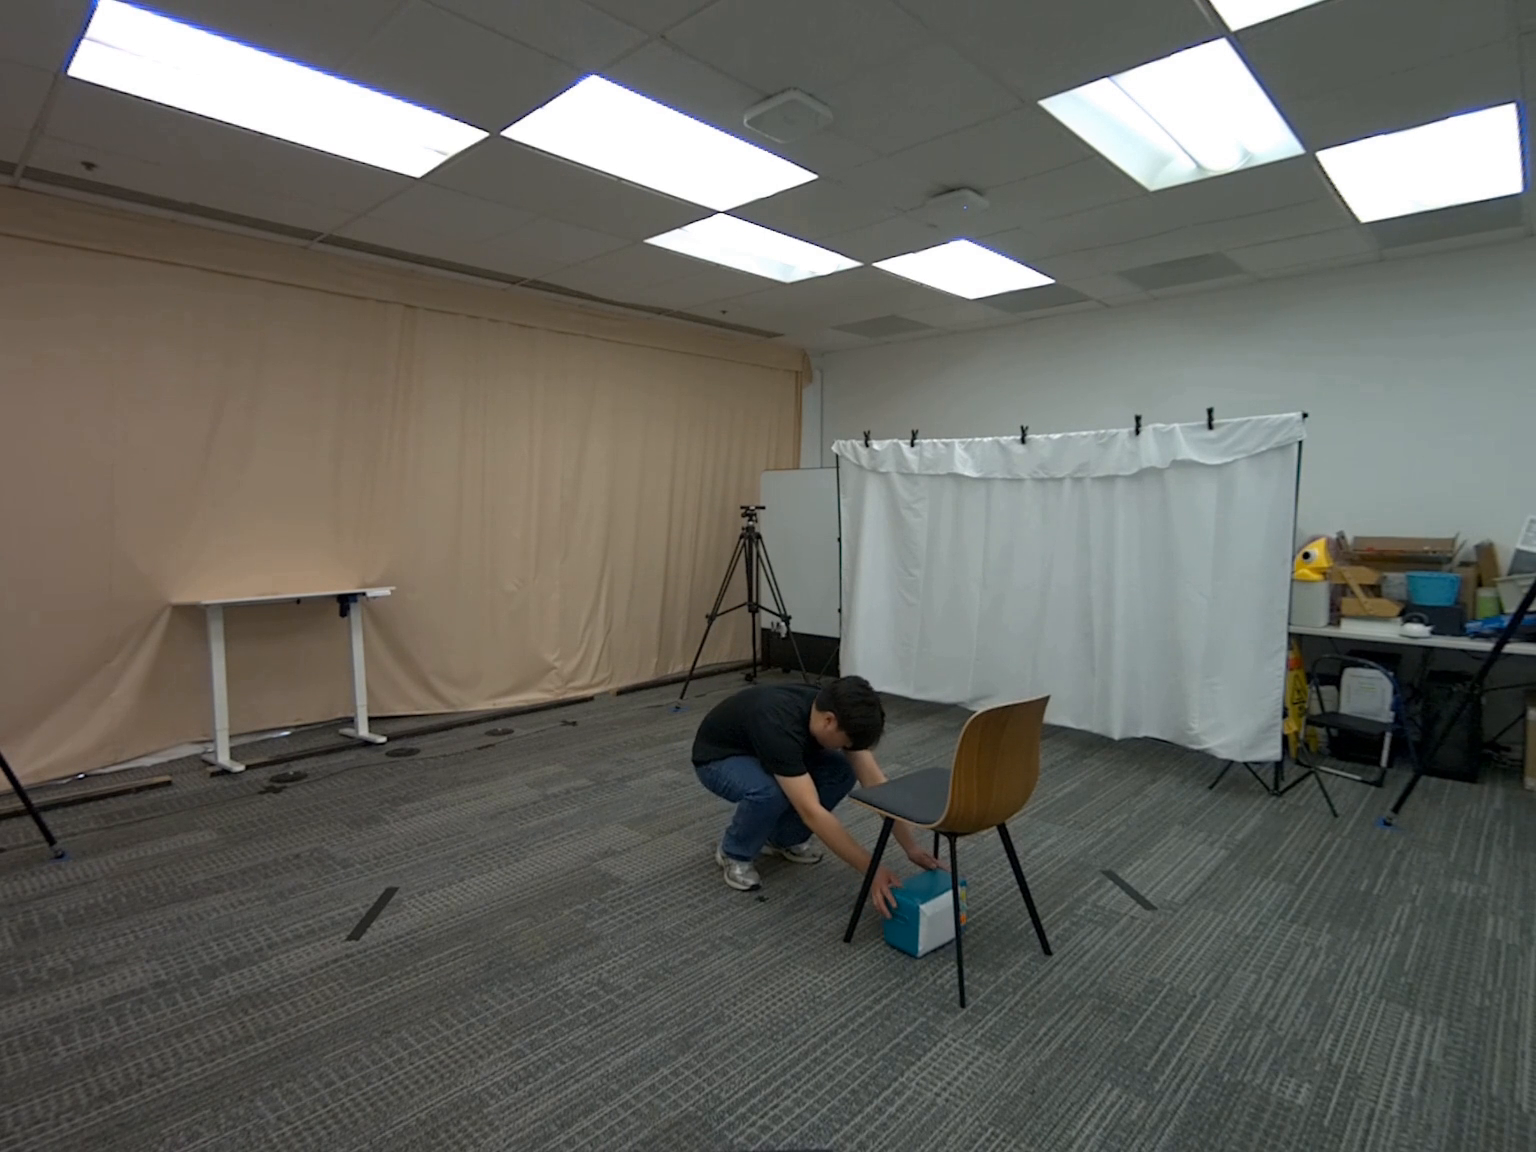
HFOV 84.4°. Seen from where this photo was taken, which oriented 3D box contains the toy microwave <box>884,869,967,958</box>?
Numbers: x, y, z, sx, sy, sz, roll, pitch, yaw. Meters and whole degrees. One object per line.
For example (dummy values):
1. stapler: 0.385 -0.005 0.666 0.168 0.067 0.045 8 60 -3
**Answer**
1. toy microwave: 0.518 1.076 2.694 0.277 0.184 0.157 -3 5 -39
